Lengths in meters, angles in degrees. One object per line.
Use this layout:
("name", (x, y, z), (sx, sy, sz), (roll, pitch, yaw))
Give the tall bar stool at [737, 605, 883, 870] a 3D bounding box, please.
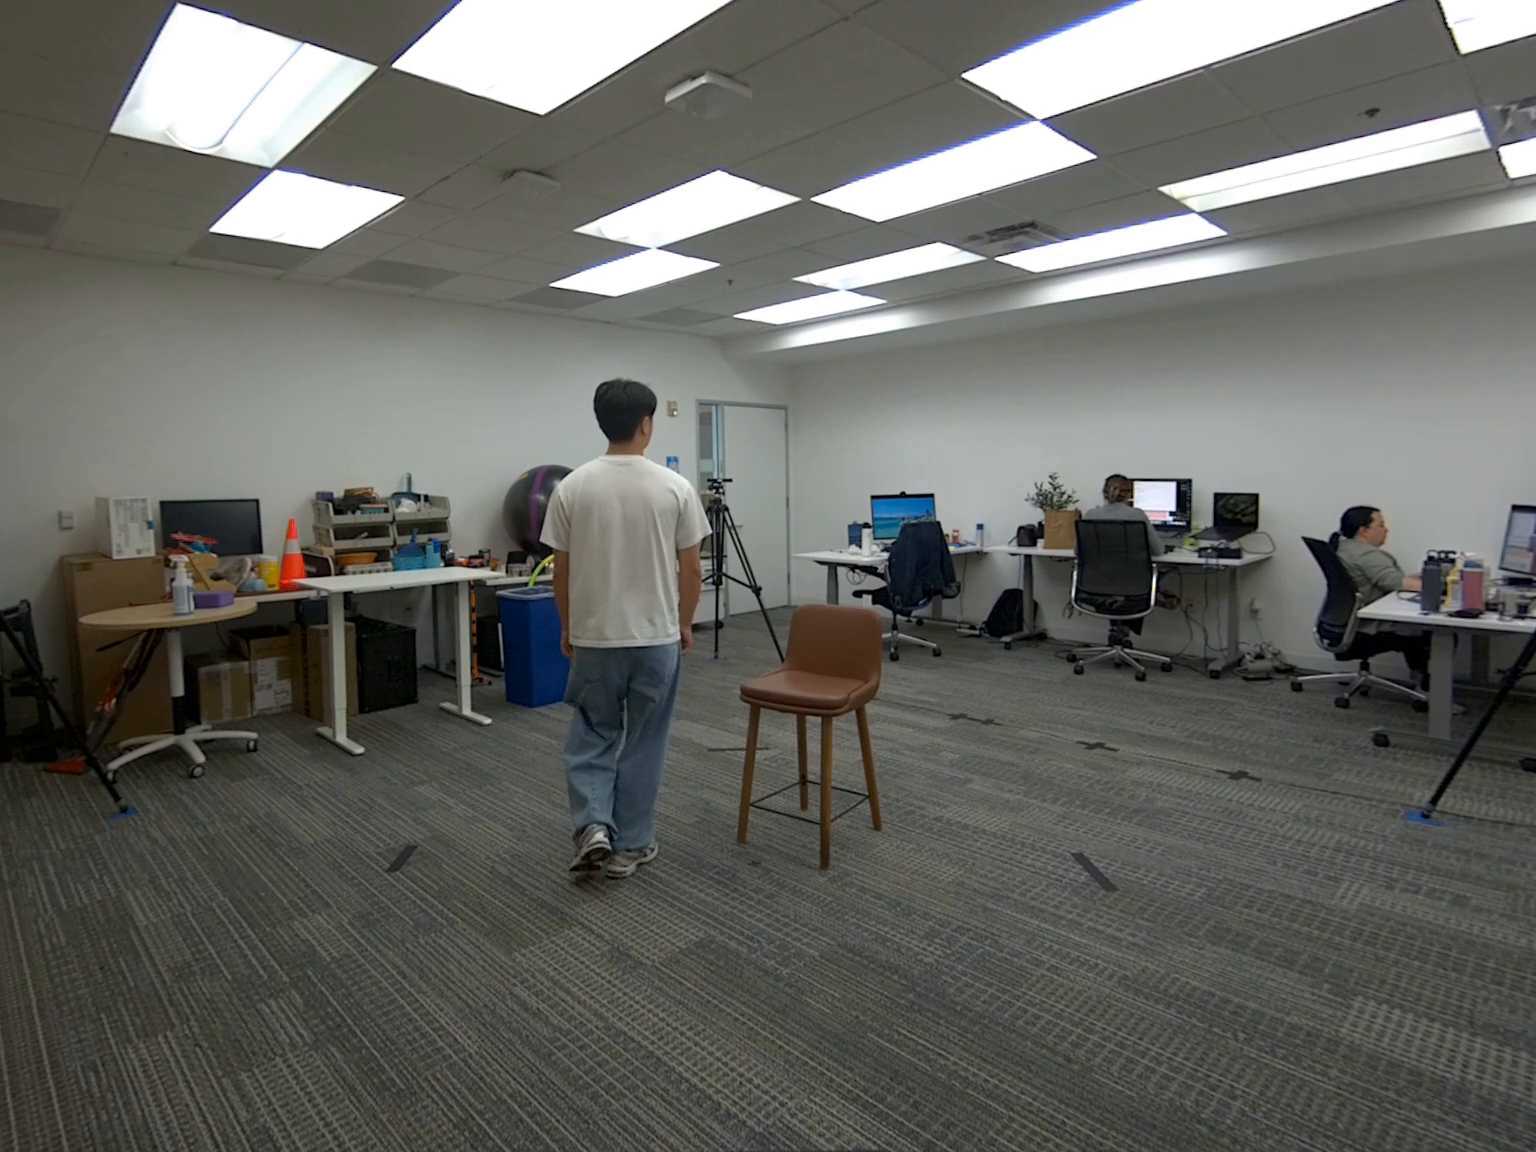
("tall bar stool", (0.174, 0.581, 3.318), (0.470, 0.888, 0.455), (3, 3, 38))
